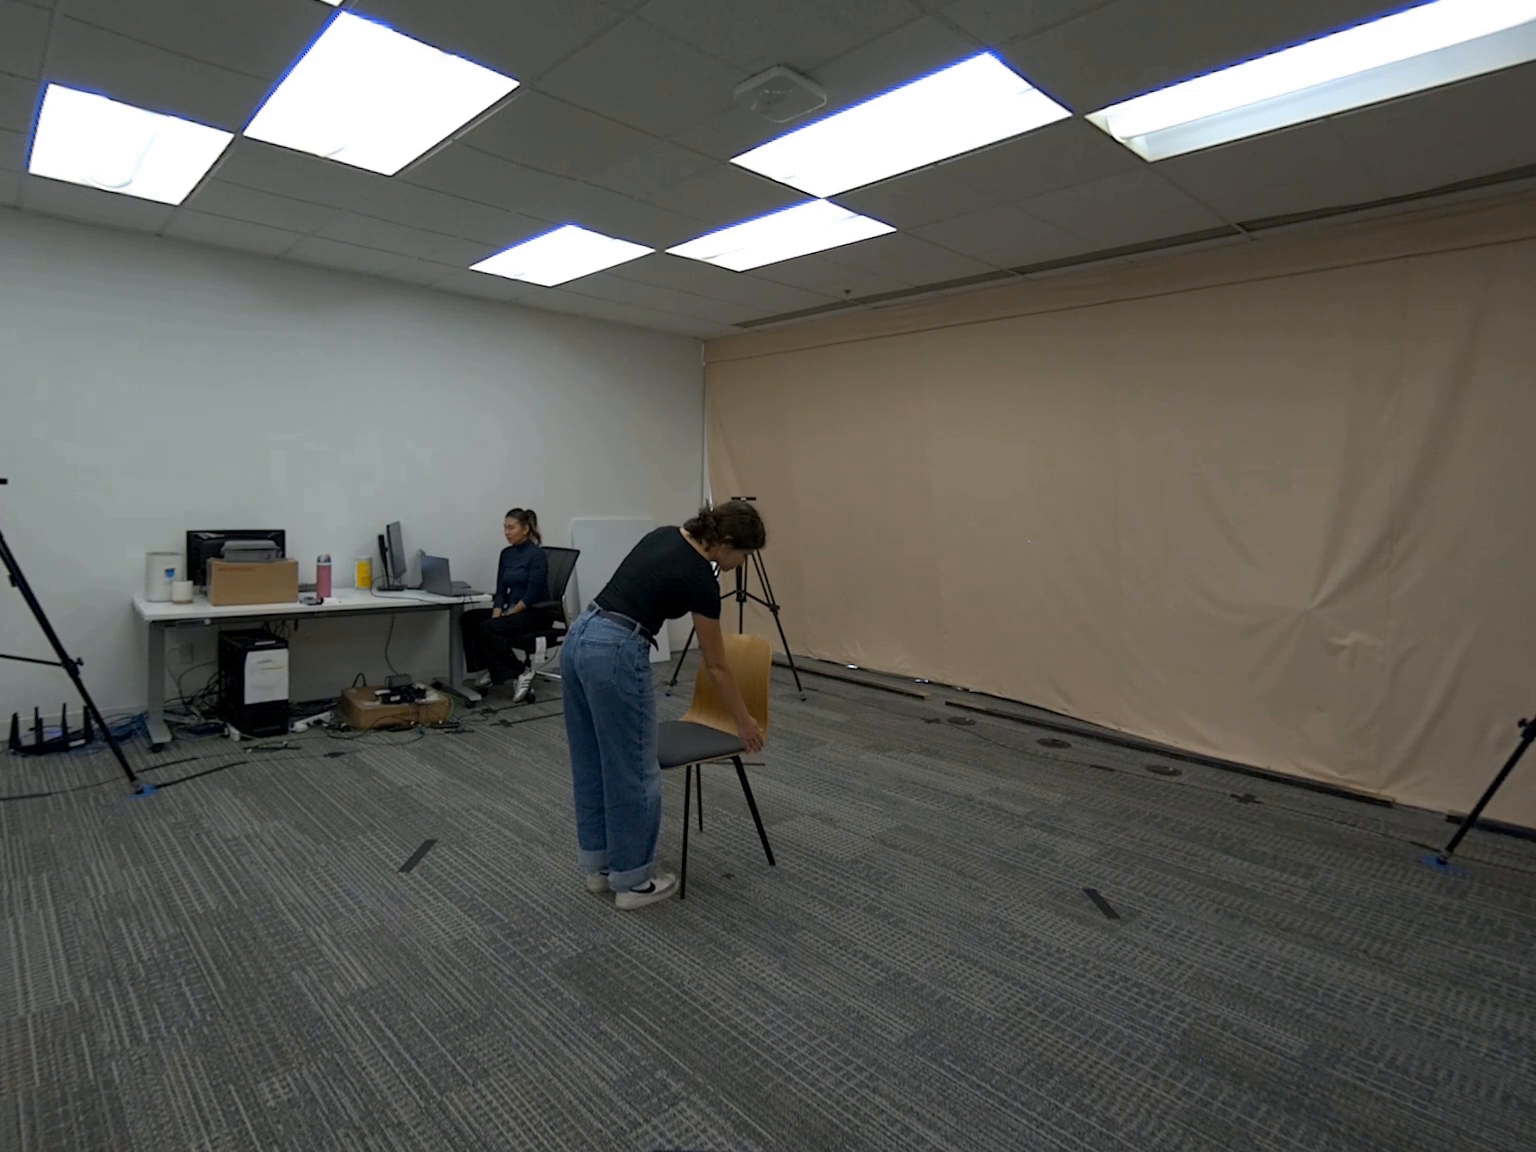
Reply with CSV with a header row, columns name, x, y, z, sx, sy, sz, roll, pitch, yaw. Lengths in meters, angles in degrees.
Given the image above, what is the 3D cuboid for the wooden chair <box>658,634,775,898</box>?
name,x,y,z,sx,sy,sz,roll,pitch,yaw
wooden chair,-0.286,0.670,3.190,0.510,0.877,0.490,4,1,-43
